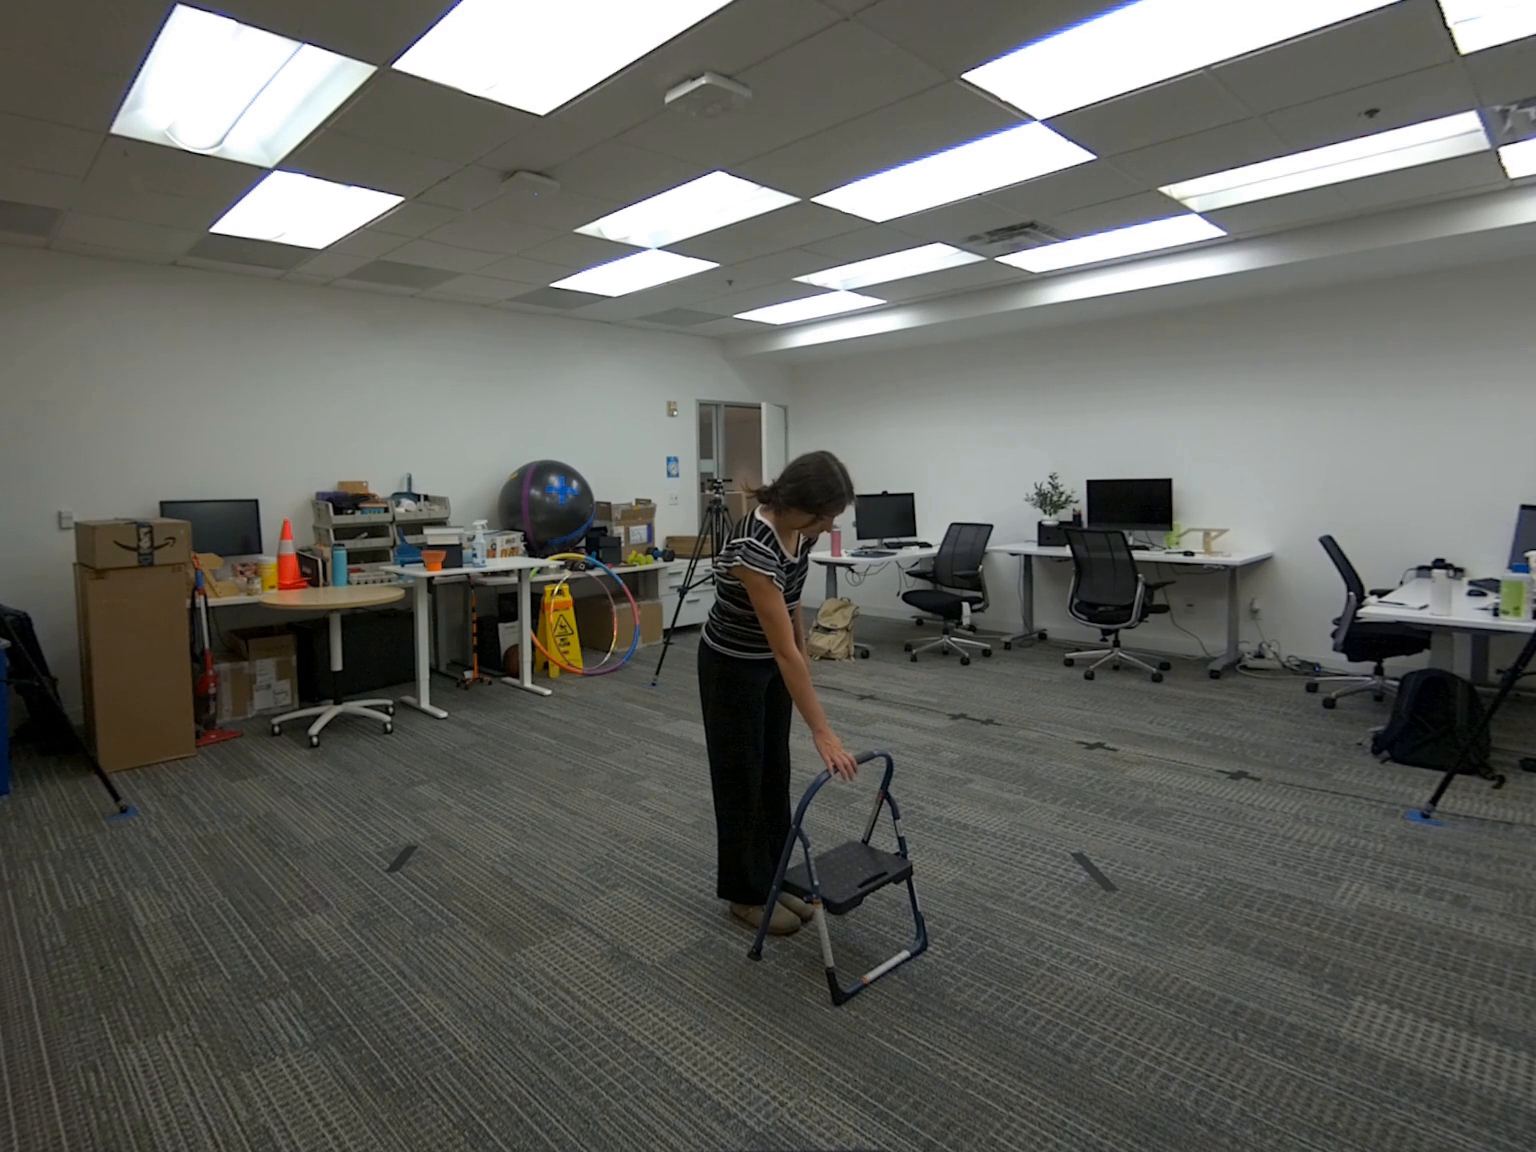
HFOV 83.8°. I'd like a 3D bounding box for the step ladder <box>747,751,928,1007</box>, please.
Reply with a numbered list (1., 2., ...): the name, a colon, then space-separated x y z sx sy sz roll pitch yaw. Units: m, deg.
1. step ladder: 0.210 0.809 2.494 0.419 0.604 0.360 -6 6 -44
